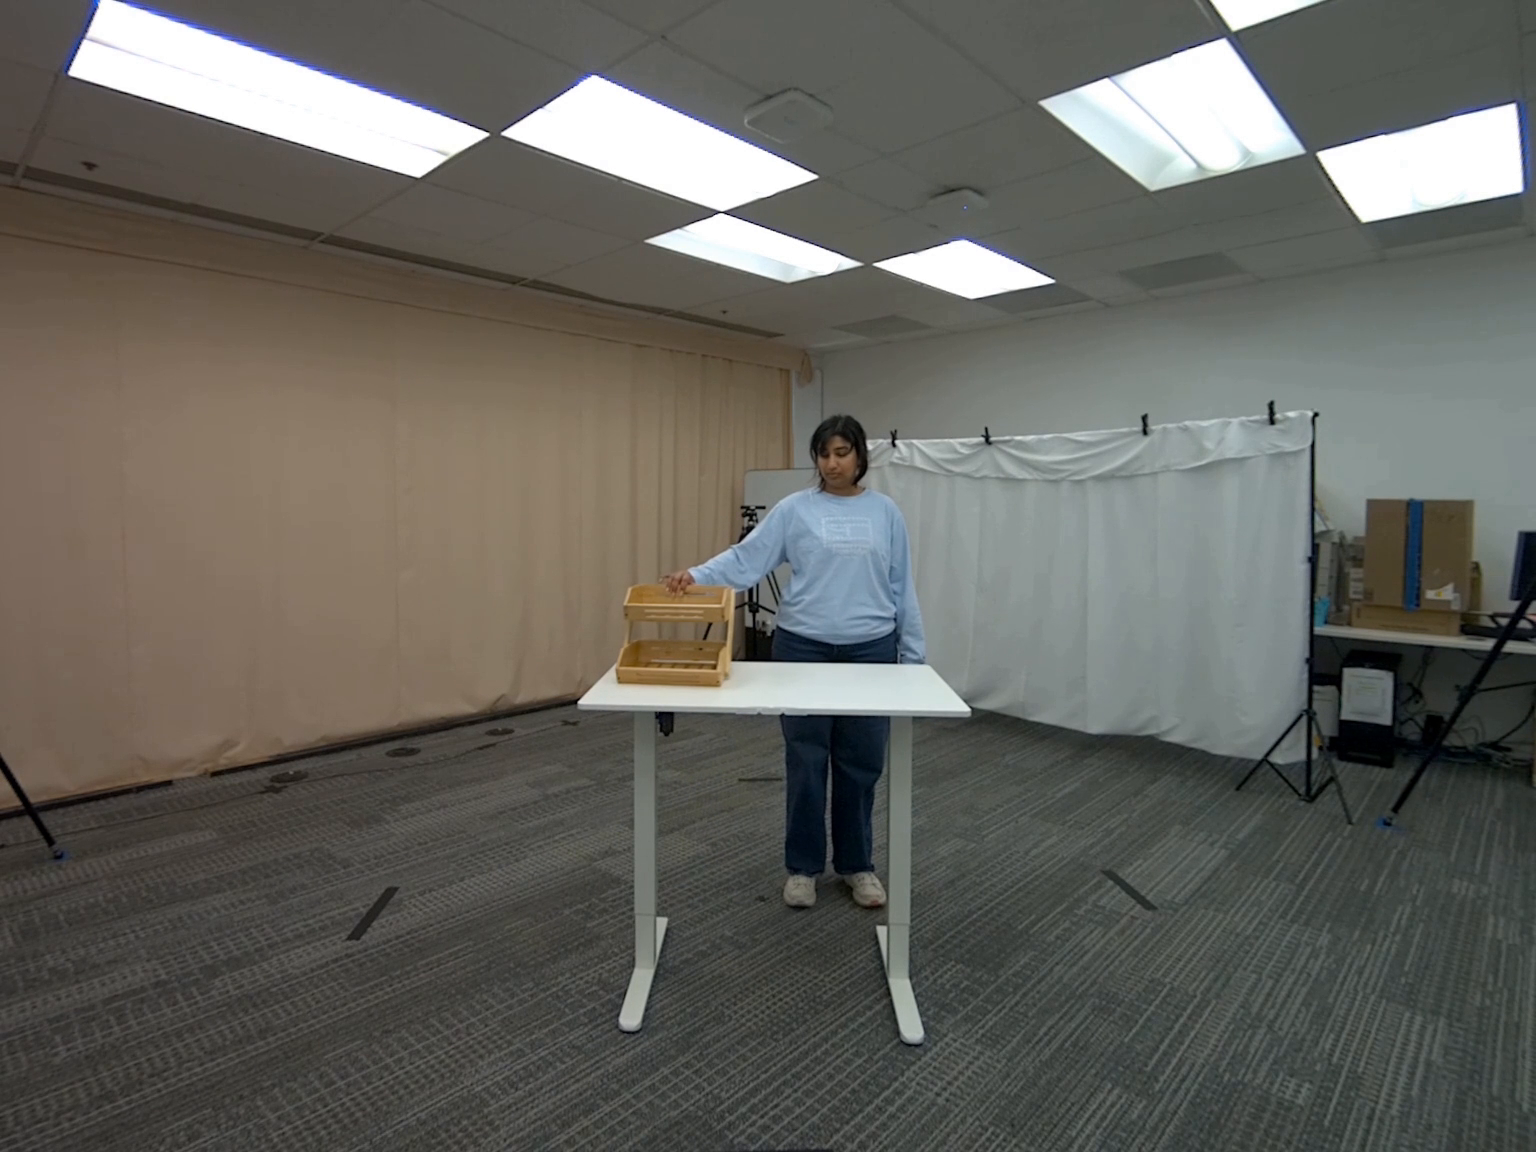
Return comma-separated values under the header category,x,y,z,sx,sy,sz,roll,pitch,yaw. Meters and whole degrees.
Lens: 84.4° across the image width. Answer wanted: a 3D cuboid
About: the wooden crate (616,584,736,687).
category,x,y,z,sx,sy,sz,roll,pitch,yaw
wooden crate,-0.266,0.169,2.505,0.327,0.273,0.300,1,2,6
